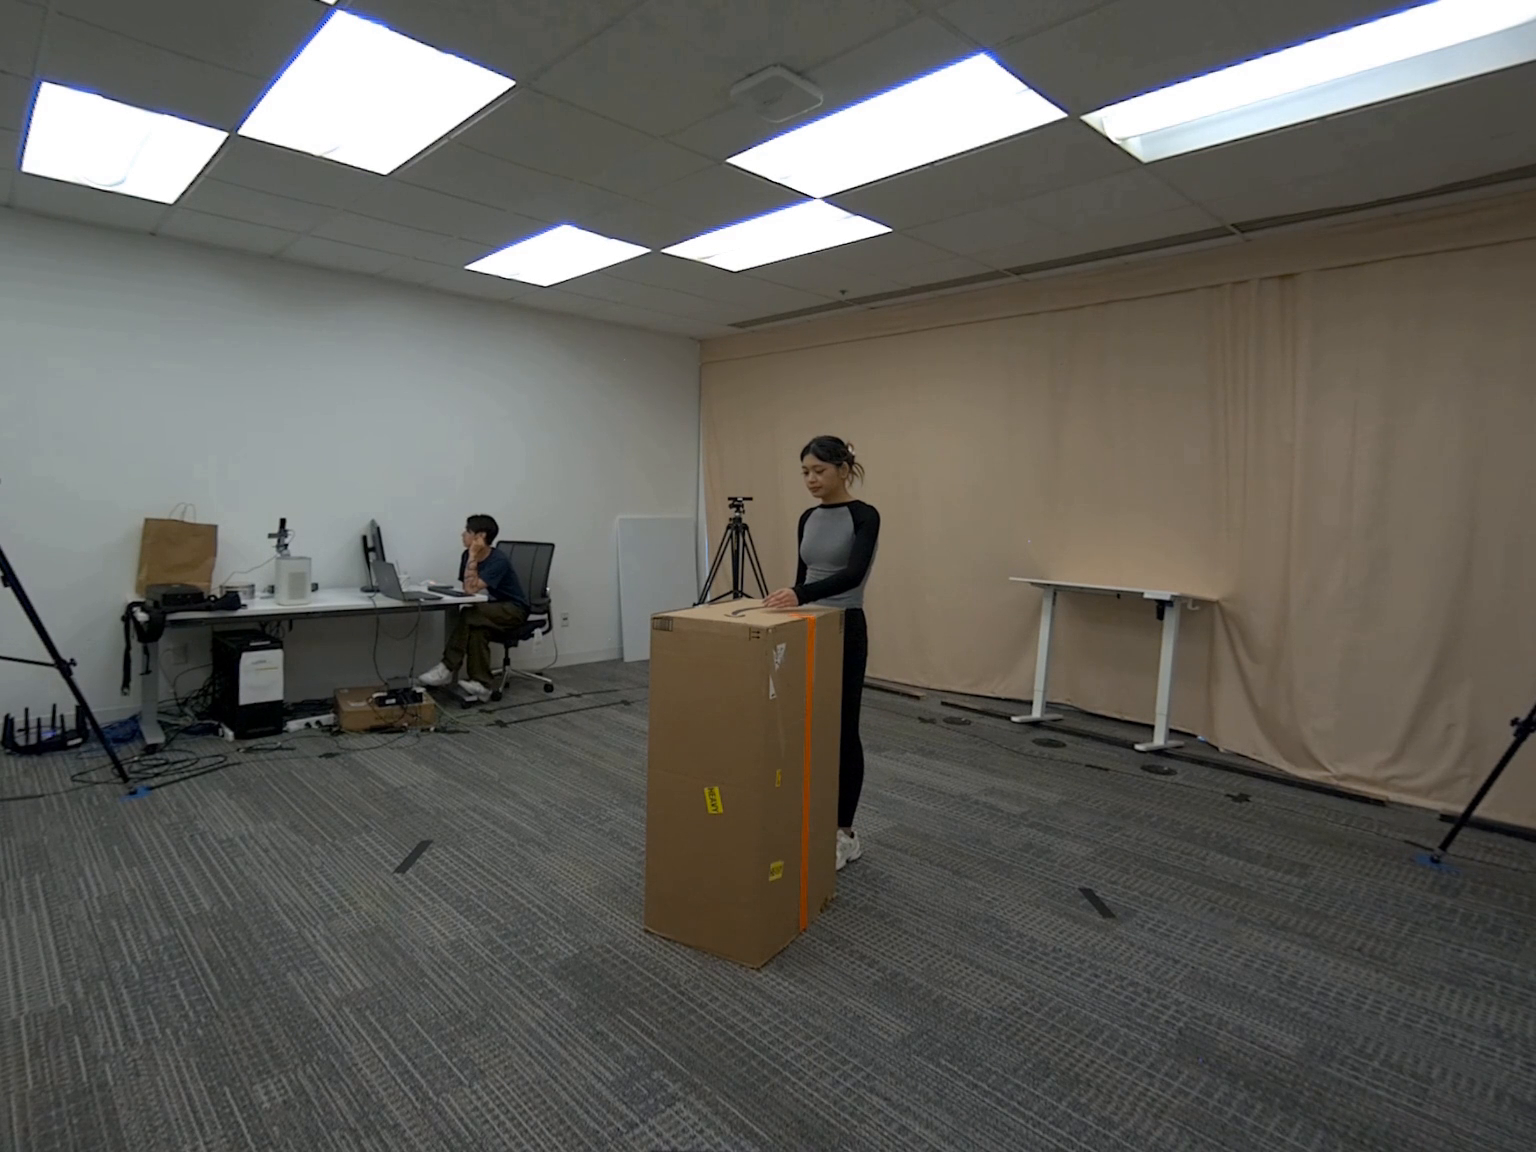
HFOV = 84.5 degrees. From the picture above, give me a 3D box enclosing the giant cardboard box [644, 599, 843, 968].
[{"bbox_3d":[-0.070,0.631,2.804,0.456,1.025,0.573,2,3,29],"label":"giant cardboard box"}]
